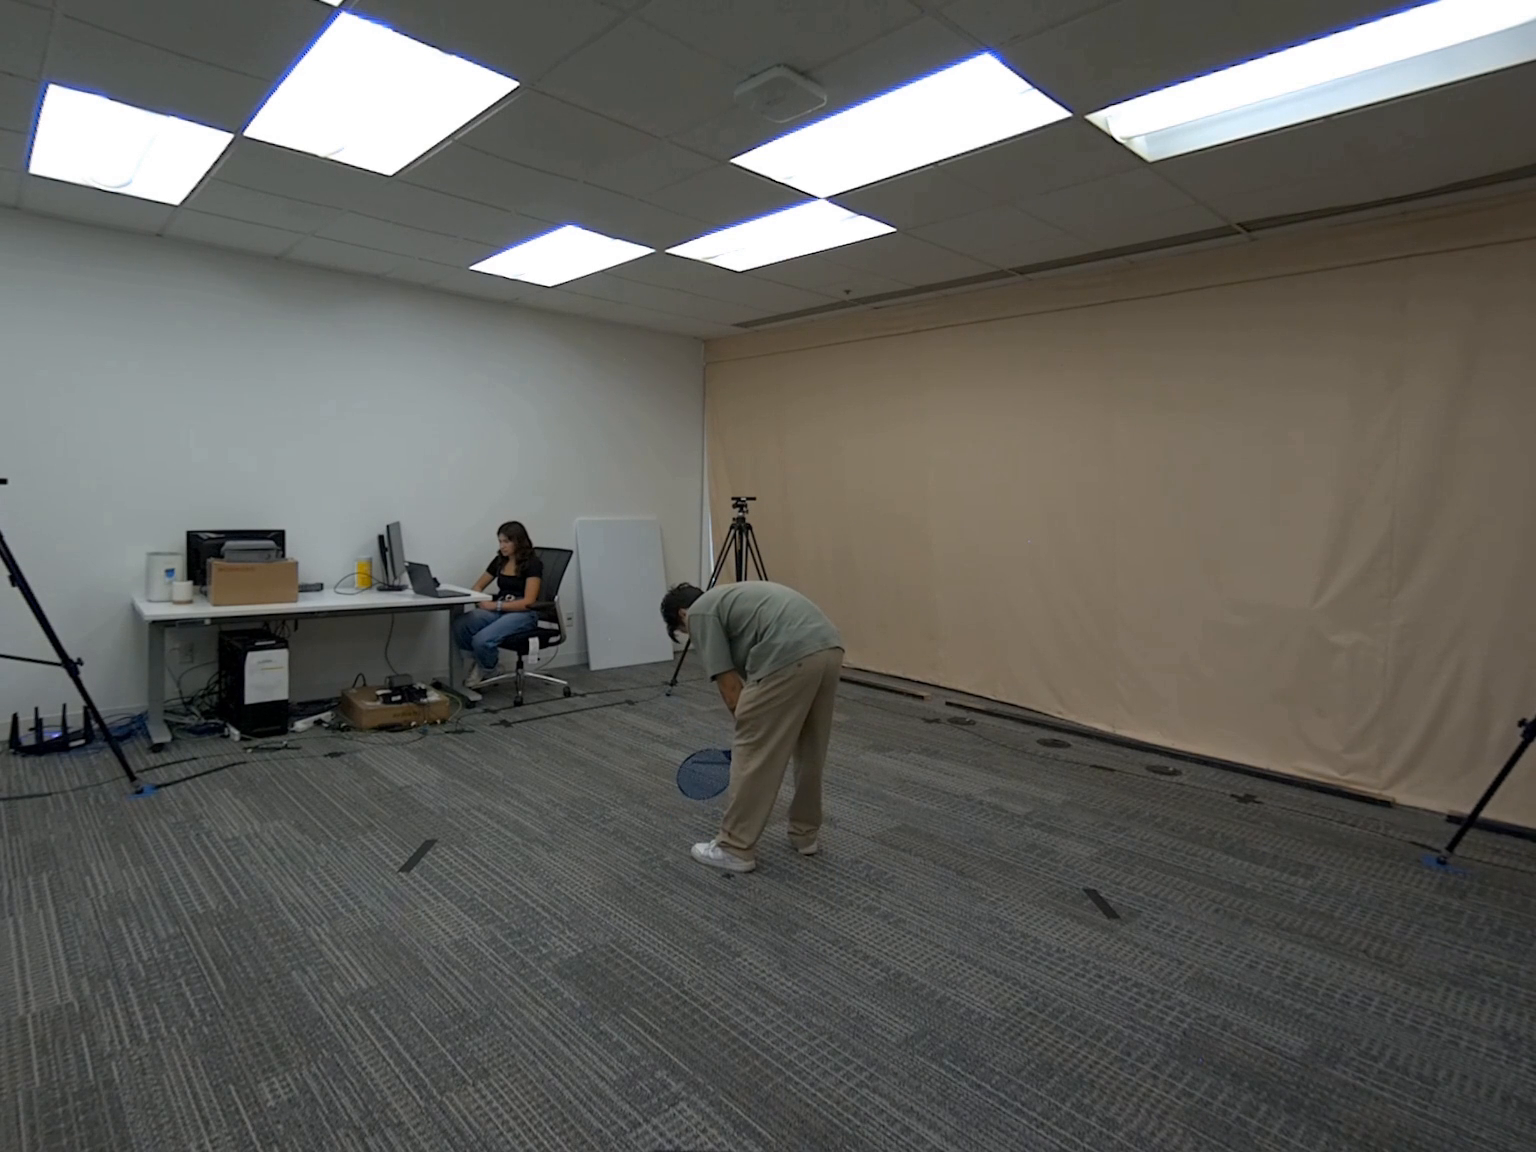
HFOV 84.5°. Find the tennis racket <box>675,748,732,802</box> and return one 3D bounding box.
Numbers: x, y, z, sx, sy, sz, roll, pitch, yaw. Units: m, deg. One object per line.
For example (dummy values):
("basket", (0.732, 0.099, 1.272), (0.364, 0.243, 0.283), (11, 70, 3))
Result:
("tennis racket", (-0.204, 0.806, 3.576), (0.434, 0.212, 0.032), (-37, 6, 11))
